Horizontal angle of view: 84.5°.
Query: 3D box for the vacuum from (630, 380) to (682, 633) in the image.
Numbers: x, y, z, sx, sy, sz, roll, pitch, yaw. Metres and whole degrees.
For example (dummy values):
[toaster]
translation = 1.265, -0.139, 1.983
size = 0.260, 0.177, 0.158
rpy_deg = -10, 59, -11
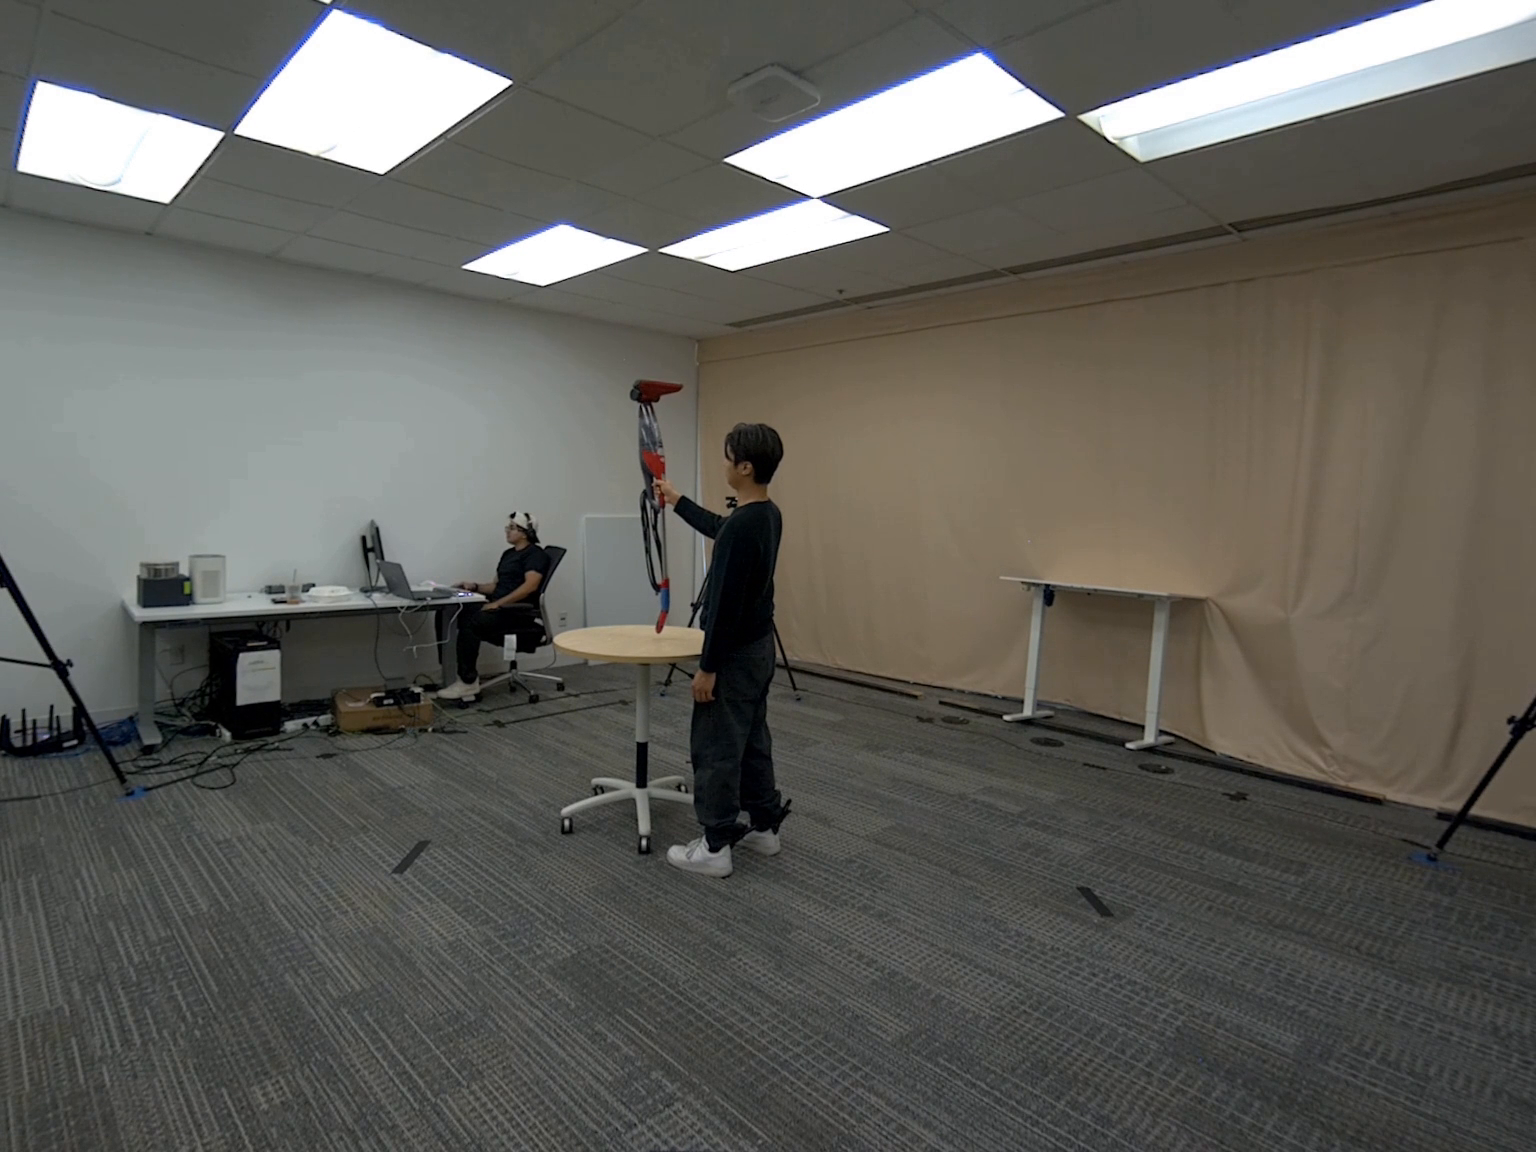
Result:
[vacuum]
translation = -0.499, -0.284, 3.606
size = 0.147, 1.046, 0.247
rpy_deg = 3, 6, 41
